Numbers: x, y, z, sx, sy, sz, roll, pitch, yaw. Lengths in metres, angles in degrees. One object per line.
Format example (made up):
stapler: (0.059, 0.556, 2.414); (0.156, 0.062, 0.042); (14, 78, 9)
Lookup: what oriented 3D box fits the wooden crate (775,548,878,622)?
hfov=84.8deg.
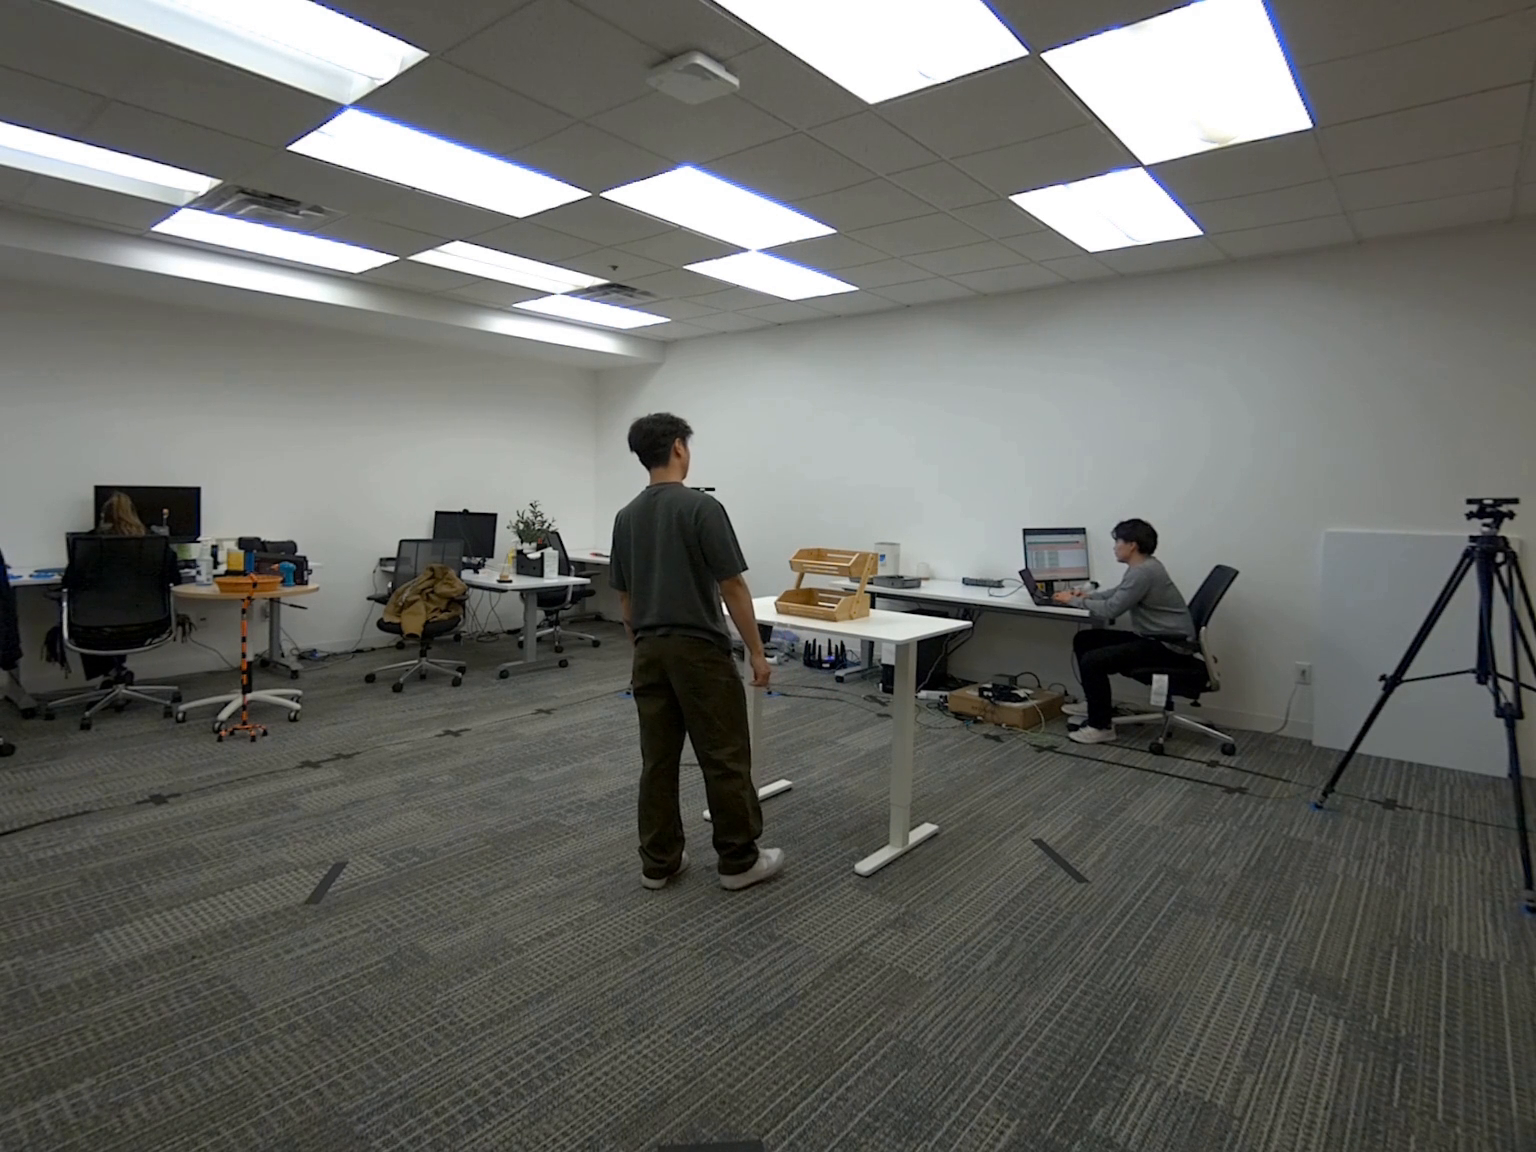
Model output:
wooden crate: (0.230, 0.022, 3.496); (0.335, 0.272, 0.293); (6, 6, 40)
